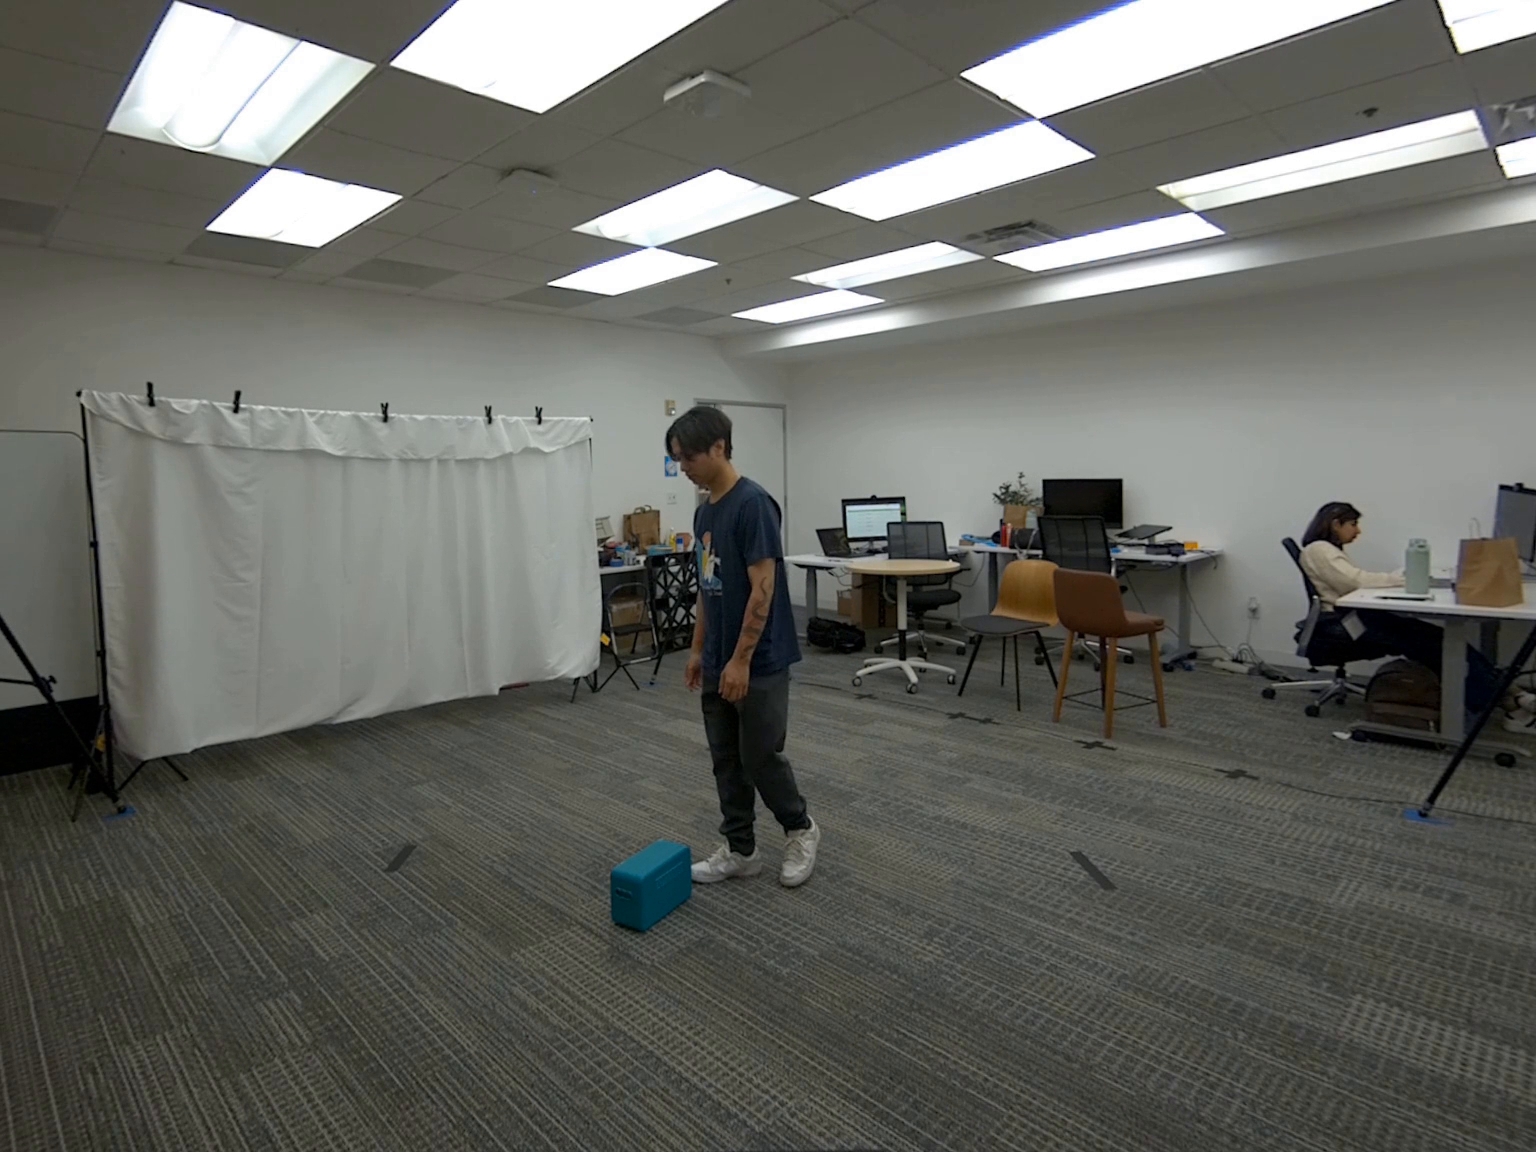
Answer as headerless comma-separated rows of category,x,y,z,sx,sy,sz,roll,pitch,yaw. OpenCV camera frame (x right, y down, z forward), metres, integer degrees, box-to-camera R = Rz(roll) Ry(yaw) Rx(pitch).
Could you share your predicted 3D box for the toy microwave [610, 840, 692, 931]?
toy microwave,-0.377,0.994,2.774,0.156,0.183,0.280,2,8,31
